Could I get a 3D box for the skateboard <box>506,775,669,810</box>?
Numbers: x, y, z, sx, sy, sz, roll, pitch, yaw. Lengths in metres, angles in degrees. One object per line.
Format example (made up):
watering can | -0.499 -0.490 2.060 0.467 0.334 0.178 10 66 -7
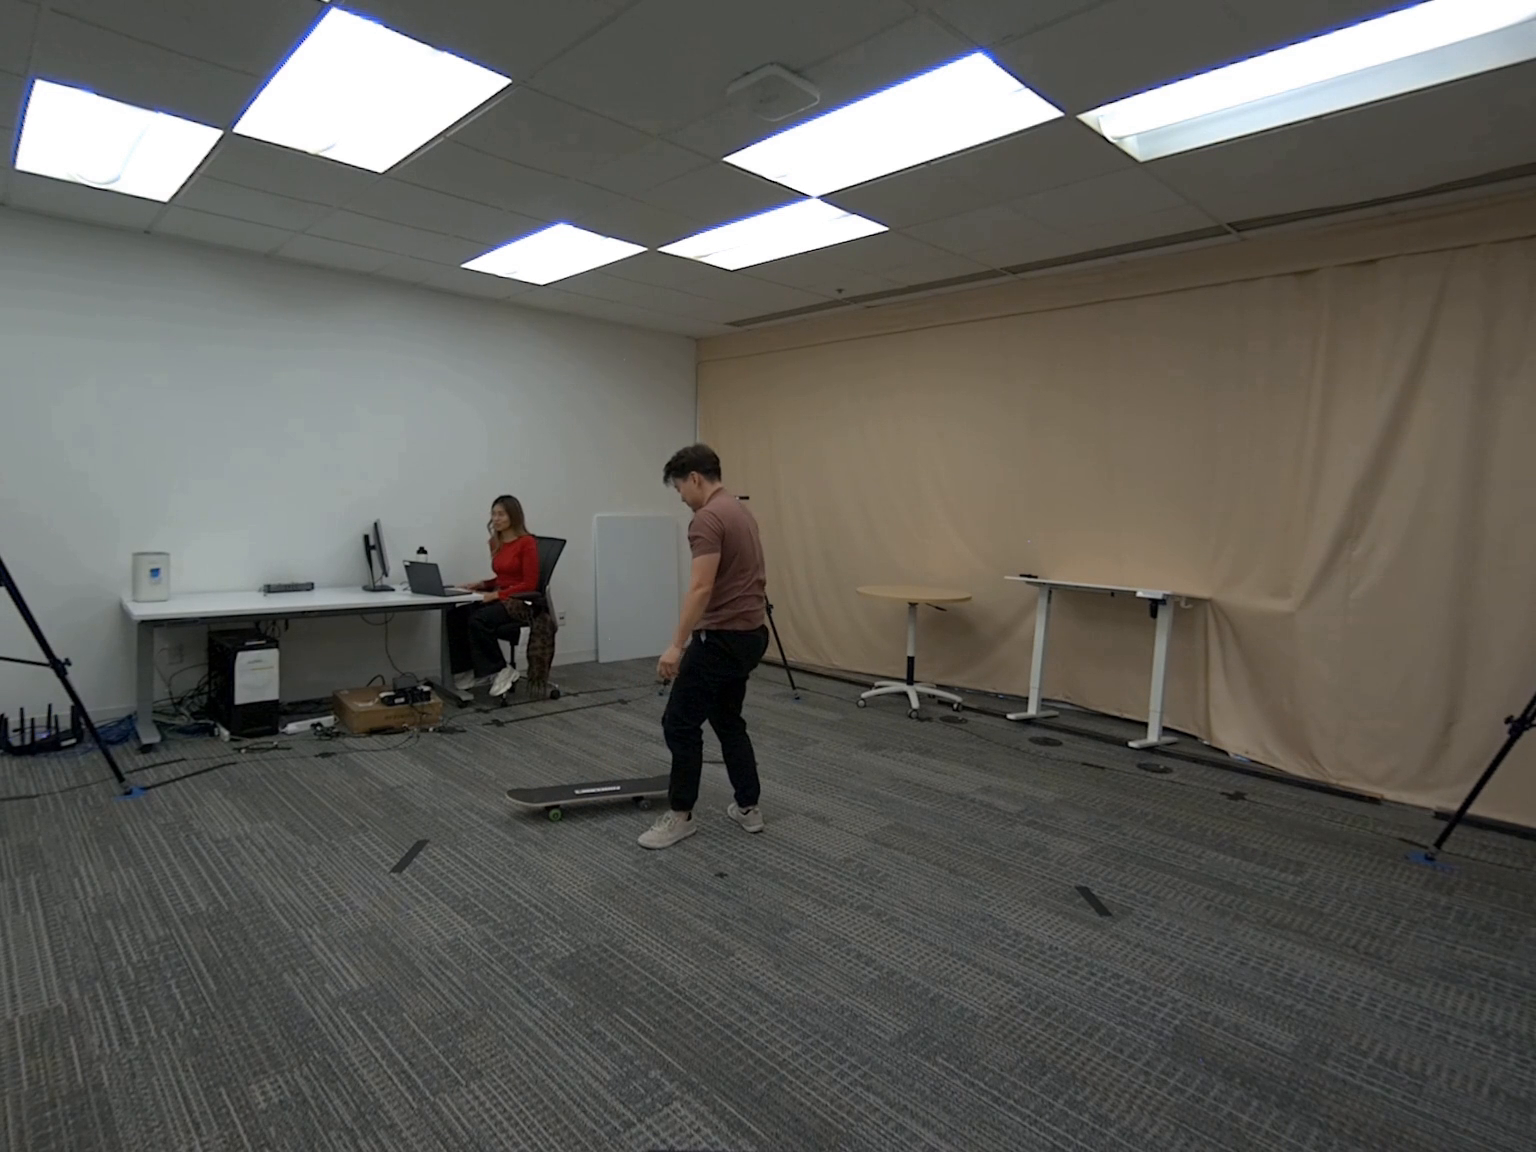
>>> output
skateboard | -0.763 0.976 3.731 0.773 0.110 0.197 -1 6 -21
